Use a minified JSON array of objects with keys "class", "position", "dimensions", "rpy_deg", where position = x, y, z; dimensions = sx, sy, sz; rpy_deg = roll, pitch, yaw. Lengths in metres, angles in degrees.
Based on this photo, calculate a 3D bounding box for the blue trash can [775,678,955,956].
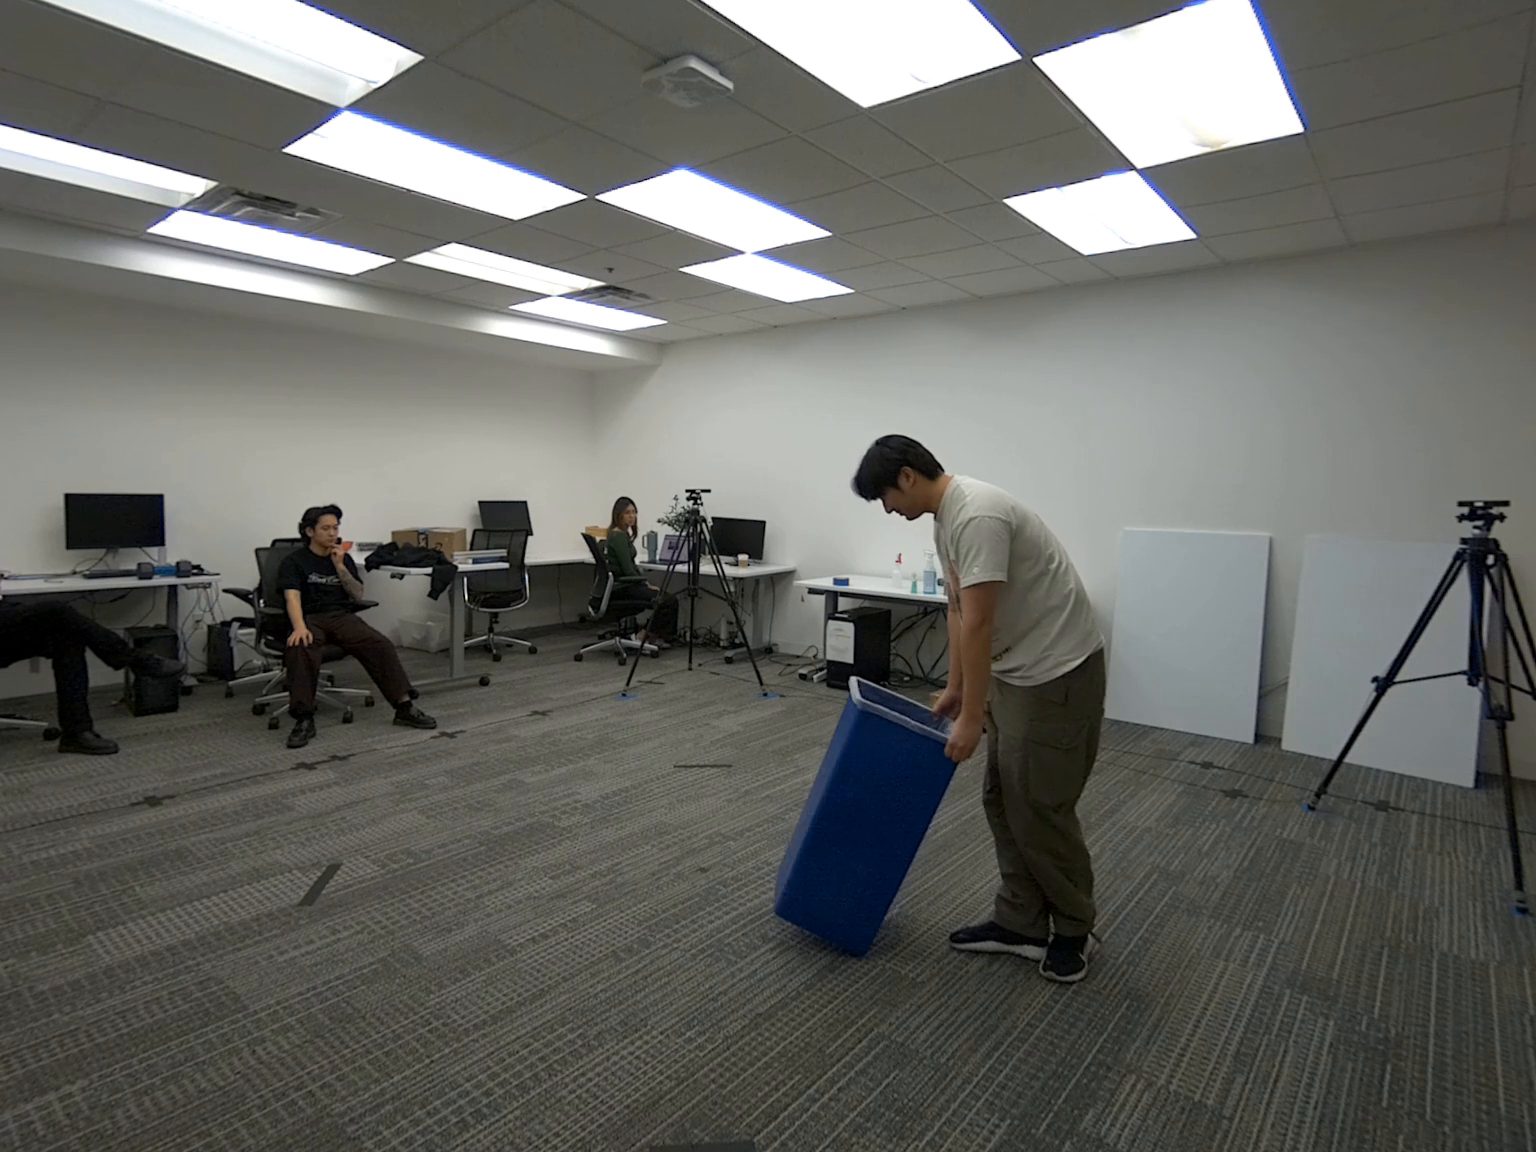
[{"class":"blue trash can","position":[0.286,0.739,2.670],"dimensions":[0.376,0.712,0.377],"rpy_deg":[24,4,3]}]
